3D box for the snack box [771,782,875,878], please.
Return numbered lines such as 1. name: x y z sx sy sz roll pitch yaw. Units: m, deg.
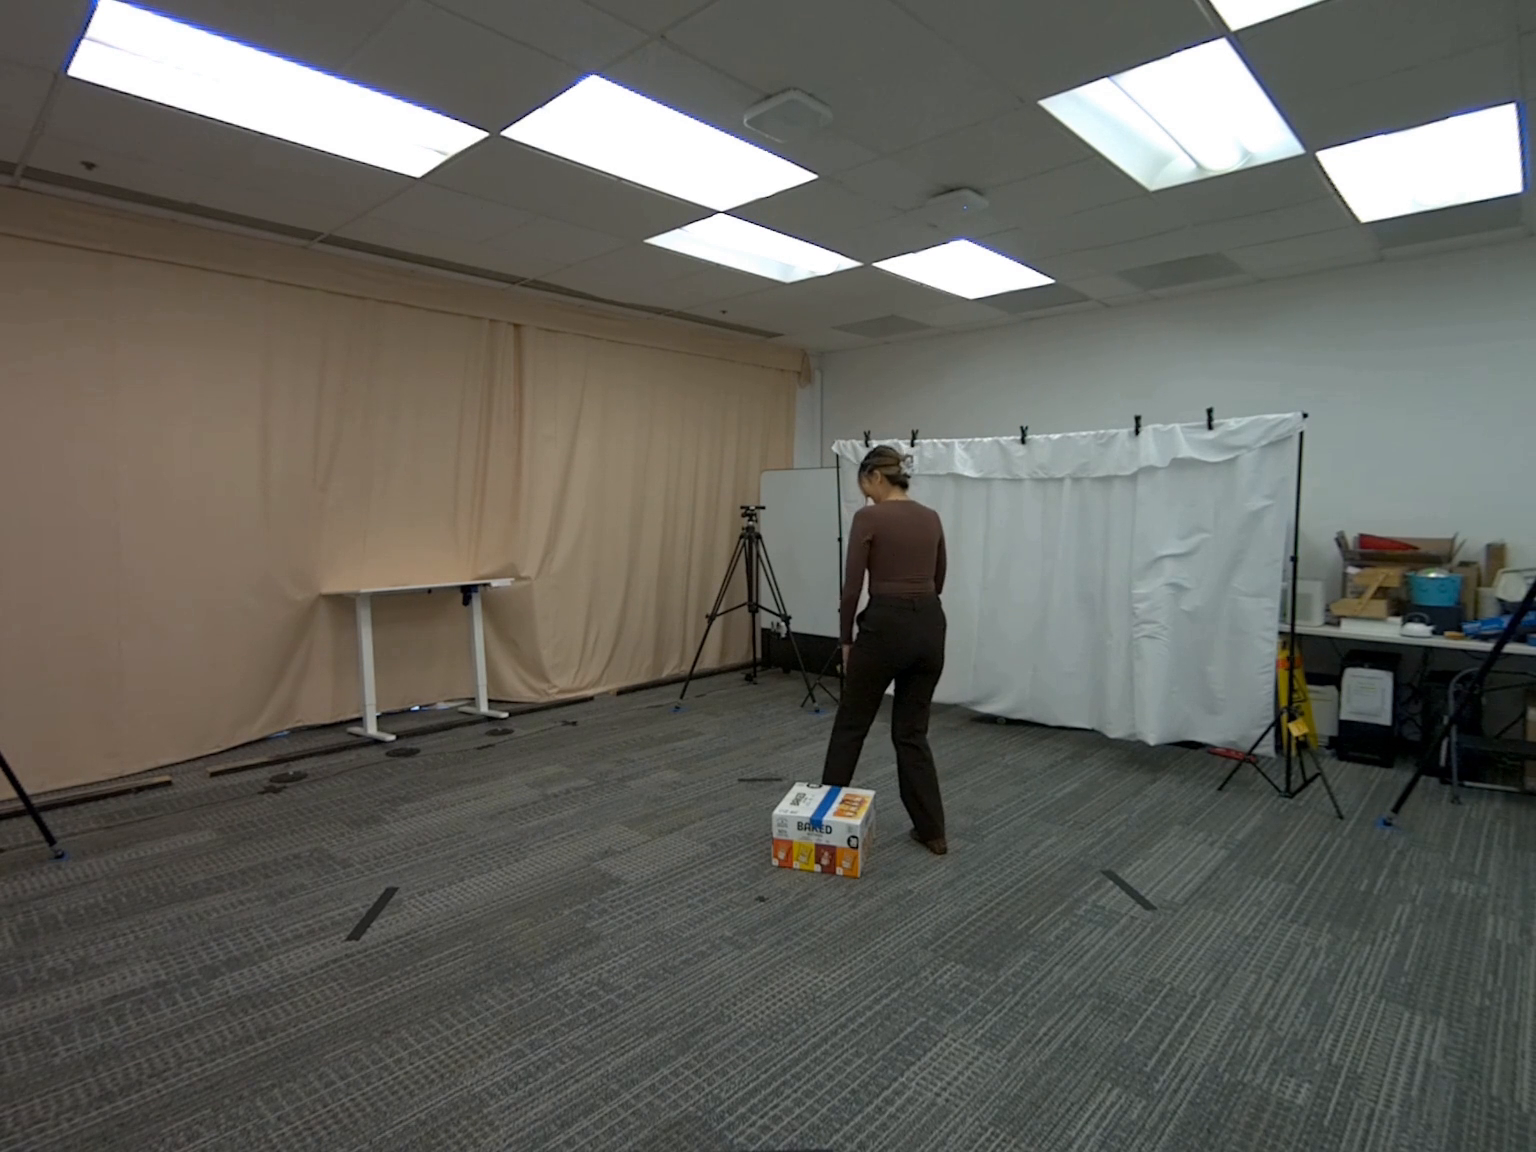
1. snack box: 0.236 1.007 3.383 0.347 0.205 0.398 1 4 17
